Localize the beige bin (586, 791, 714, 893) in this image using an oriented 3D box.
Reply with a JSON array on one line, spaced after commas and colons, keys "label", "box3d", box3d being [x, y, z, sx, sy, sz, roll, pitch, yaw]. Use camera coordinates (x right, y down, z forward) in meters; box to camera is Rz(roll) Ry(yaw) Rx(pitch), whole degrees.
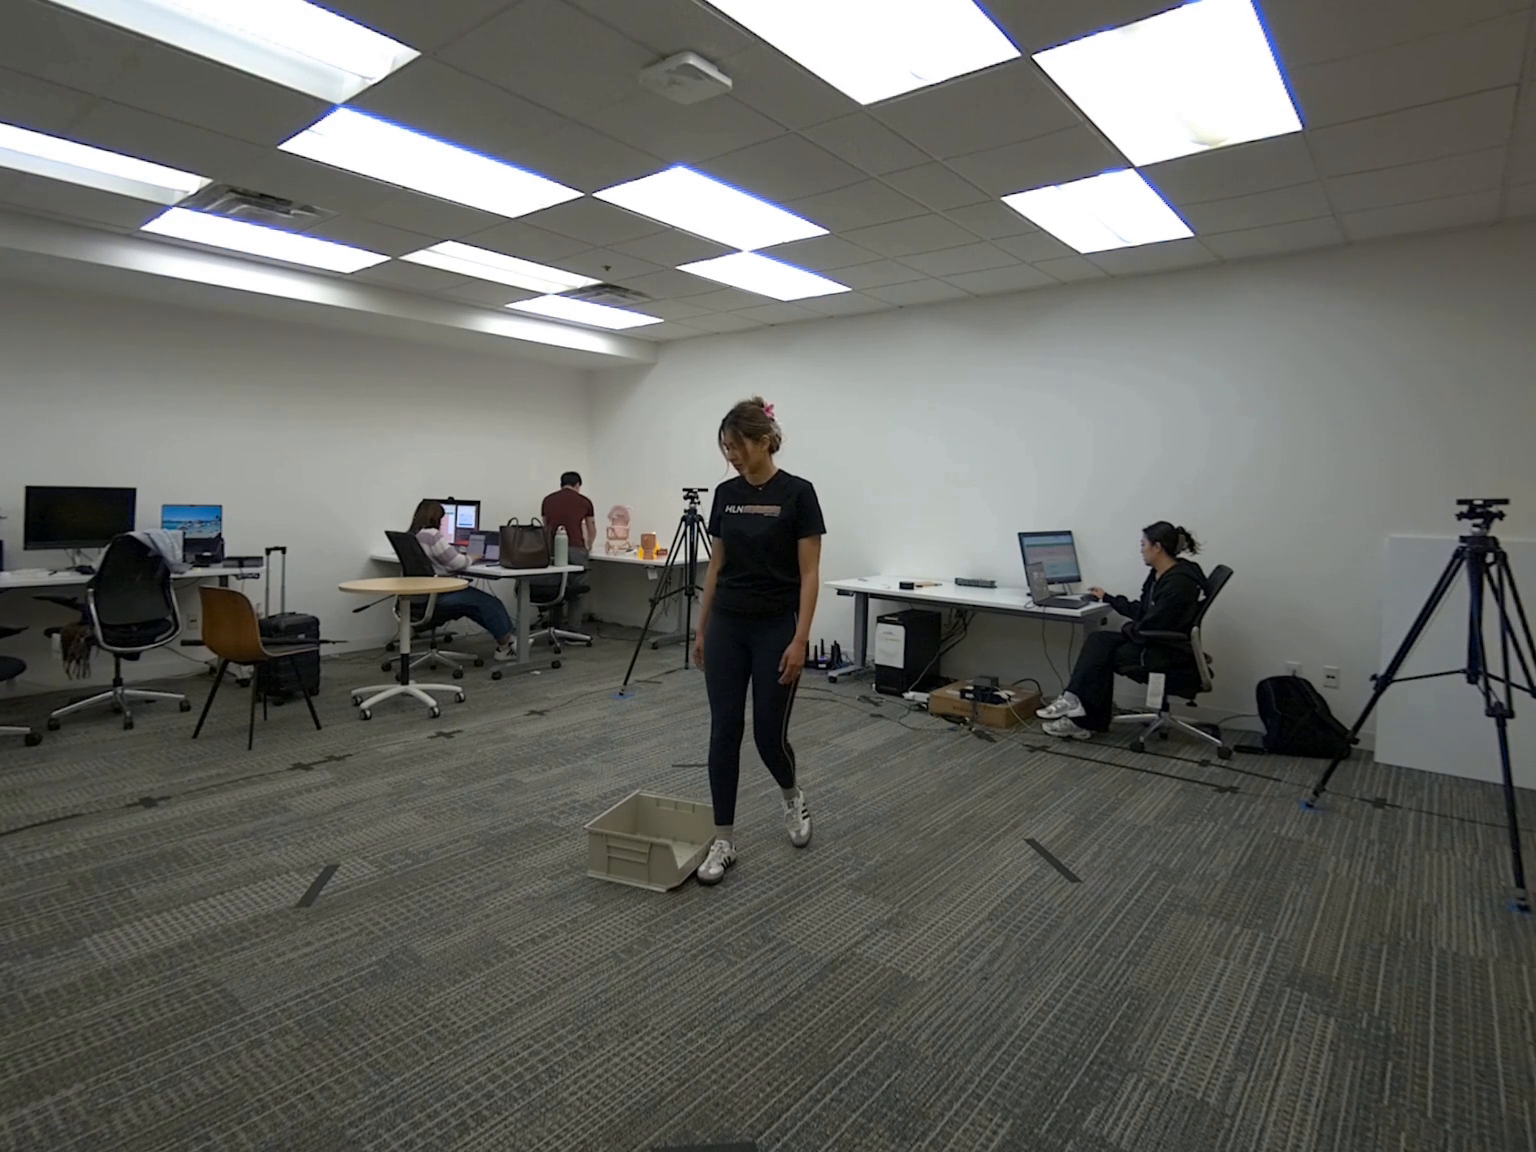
[{"label": "beige bin", "box3d": [-0.421, 0.972, 3.152, 0.386, 0.188, 0.415, 2, 5, 21]}]
